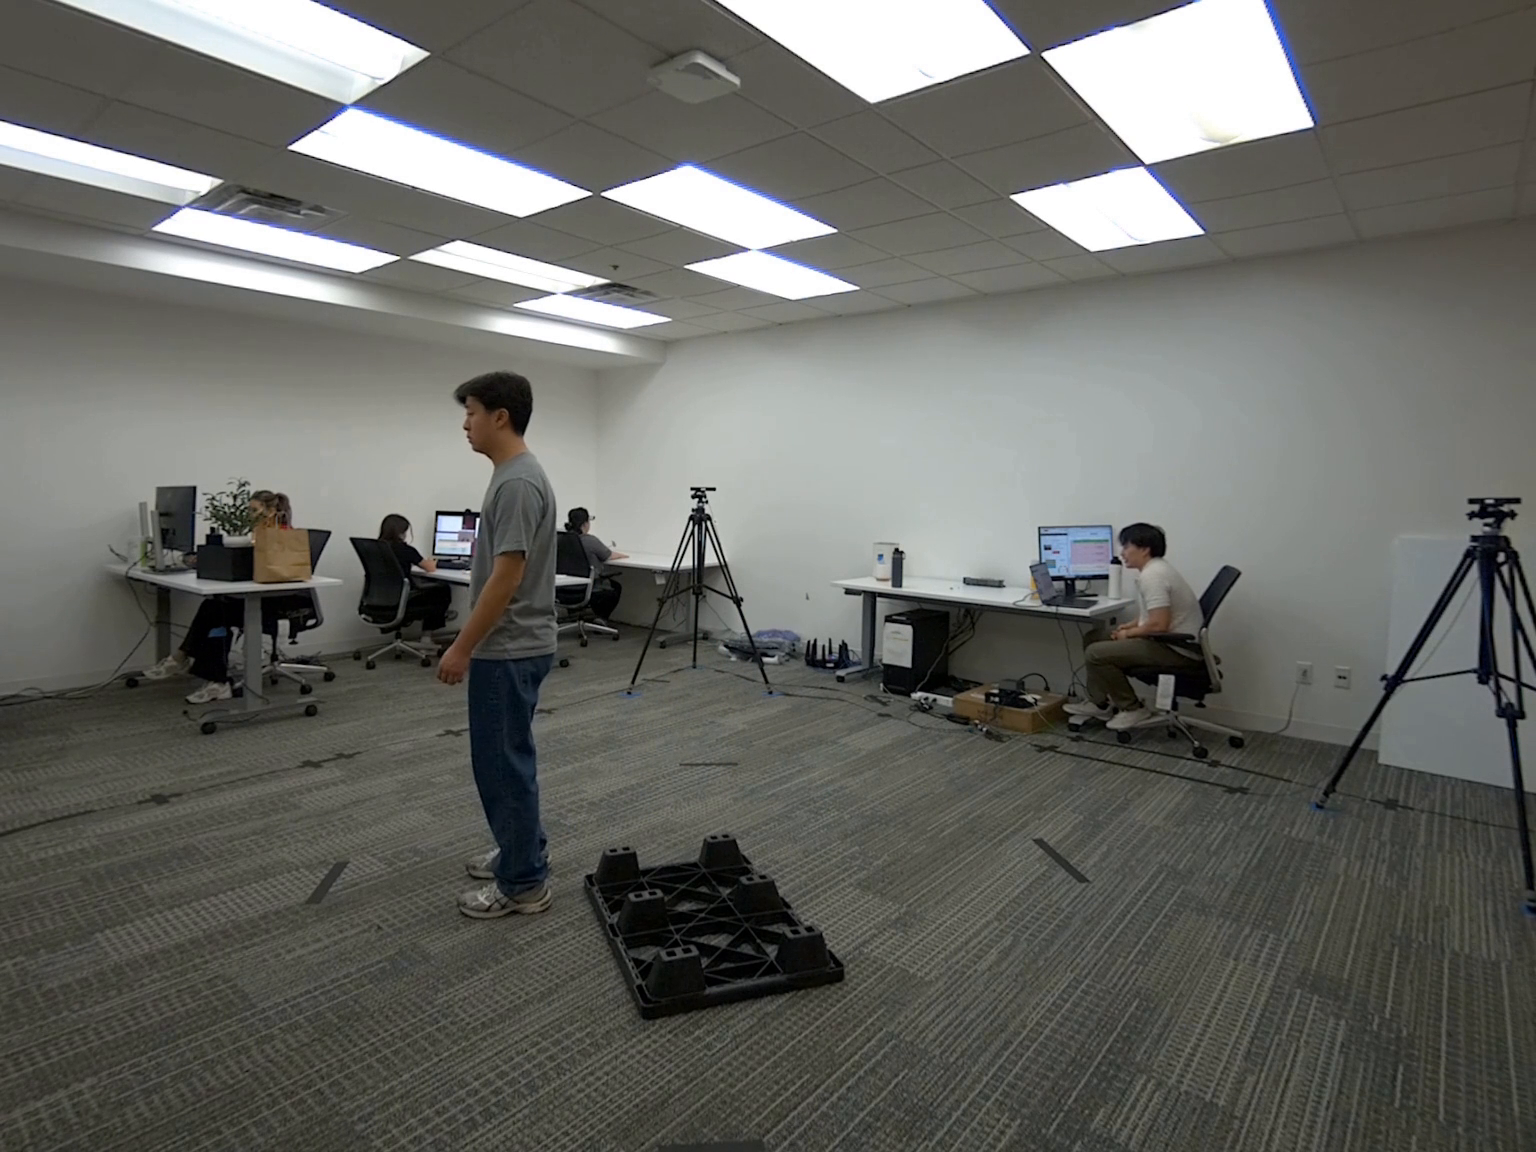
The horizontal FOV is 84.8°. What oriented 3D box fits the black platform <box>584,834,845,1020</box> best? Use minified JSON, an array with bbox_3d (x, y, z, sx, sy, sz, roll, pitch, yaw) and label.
[{"bbox_3d":[-0.212,1.039,2.678,0.592,0.143,0.827,-2,7,-23],"label":"black platform"}]
